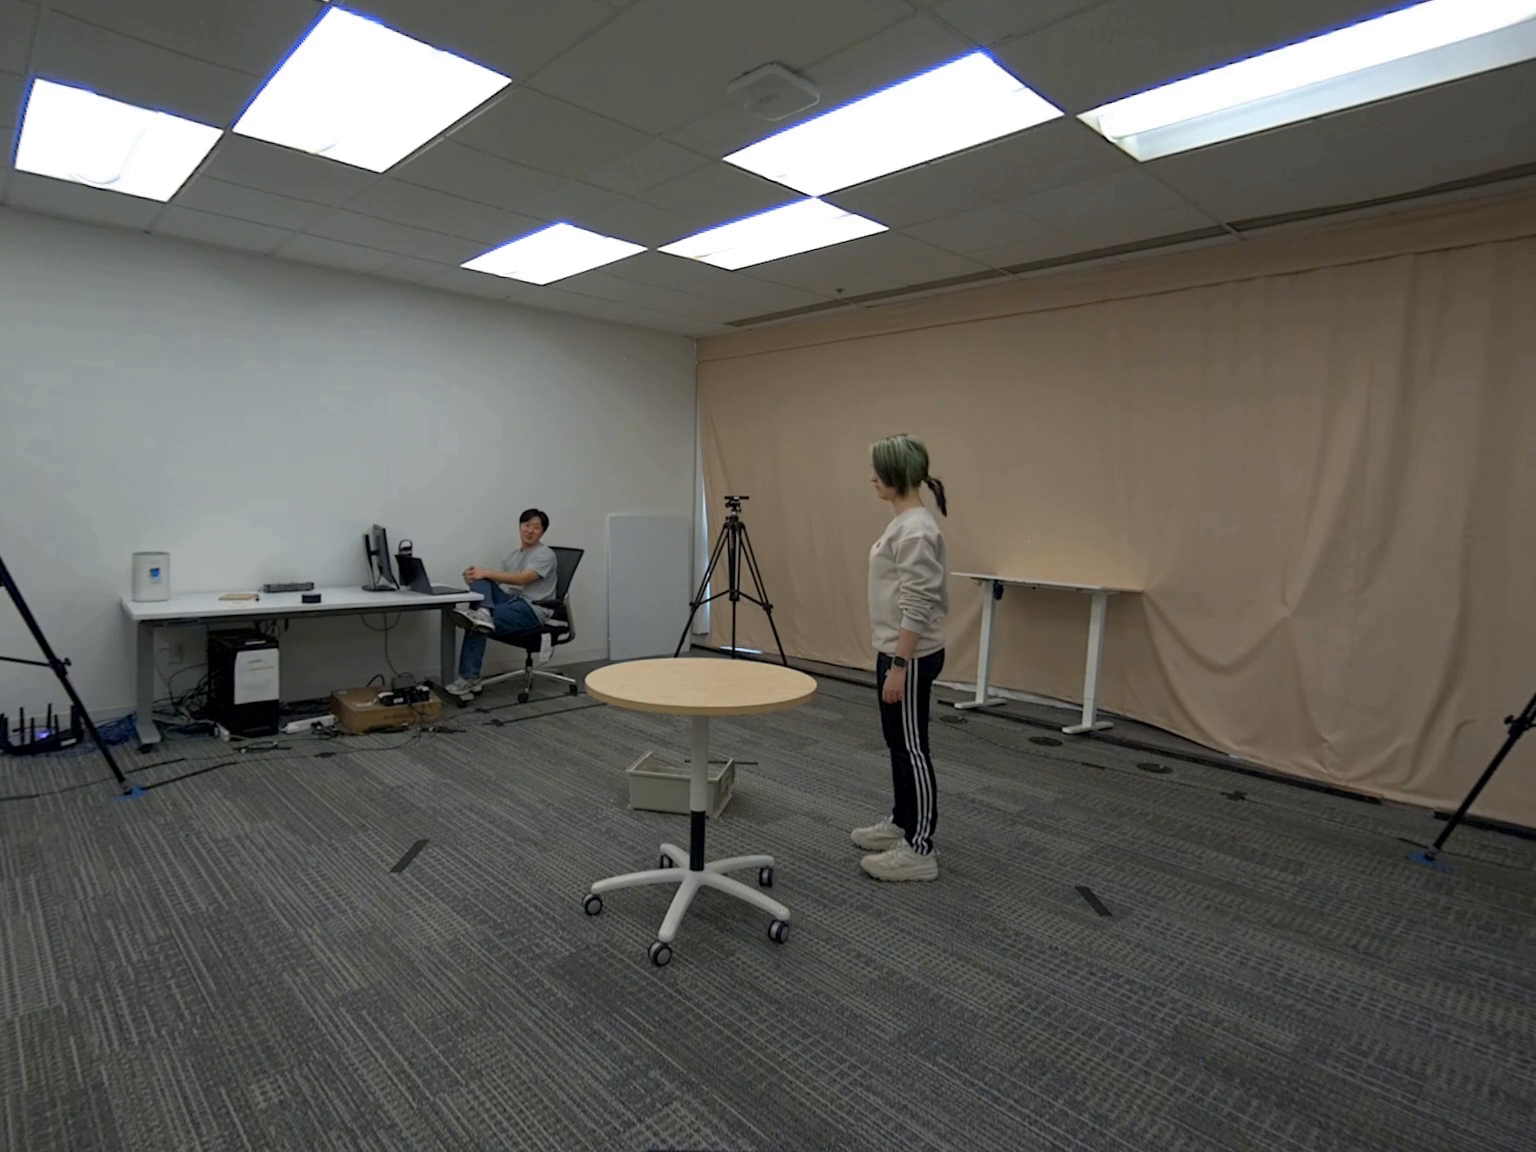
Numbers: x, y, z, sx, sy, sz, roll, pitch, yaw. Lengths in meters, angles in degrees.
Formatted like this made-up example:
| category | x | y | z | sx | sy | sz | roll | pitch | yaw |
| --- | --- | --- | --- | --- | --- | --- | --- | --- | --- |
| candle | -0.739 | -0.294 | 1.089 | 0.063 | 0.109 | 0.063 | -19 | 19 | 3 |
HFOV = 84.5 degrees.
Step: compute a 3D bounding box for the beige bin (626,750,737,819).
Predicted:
| category | x | y | z | sx | sy | sz | roll | pitch | yaw |
| --- | --- | --- | --- | --- | --- | --- | --- | --- | --- |
| beige bin | -0.402 | 0.942 | 3.861 | 0.427 | 0.188 | 0.375 | 3 | 6 | 12 |
